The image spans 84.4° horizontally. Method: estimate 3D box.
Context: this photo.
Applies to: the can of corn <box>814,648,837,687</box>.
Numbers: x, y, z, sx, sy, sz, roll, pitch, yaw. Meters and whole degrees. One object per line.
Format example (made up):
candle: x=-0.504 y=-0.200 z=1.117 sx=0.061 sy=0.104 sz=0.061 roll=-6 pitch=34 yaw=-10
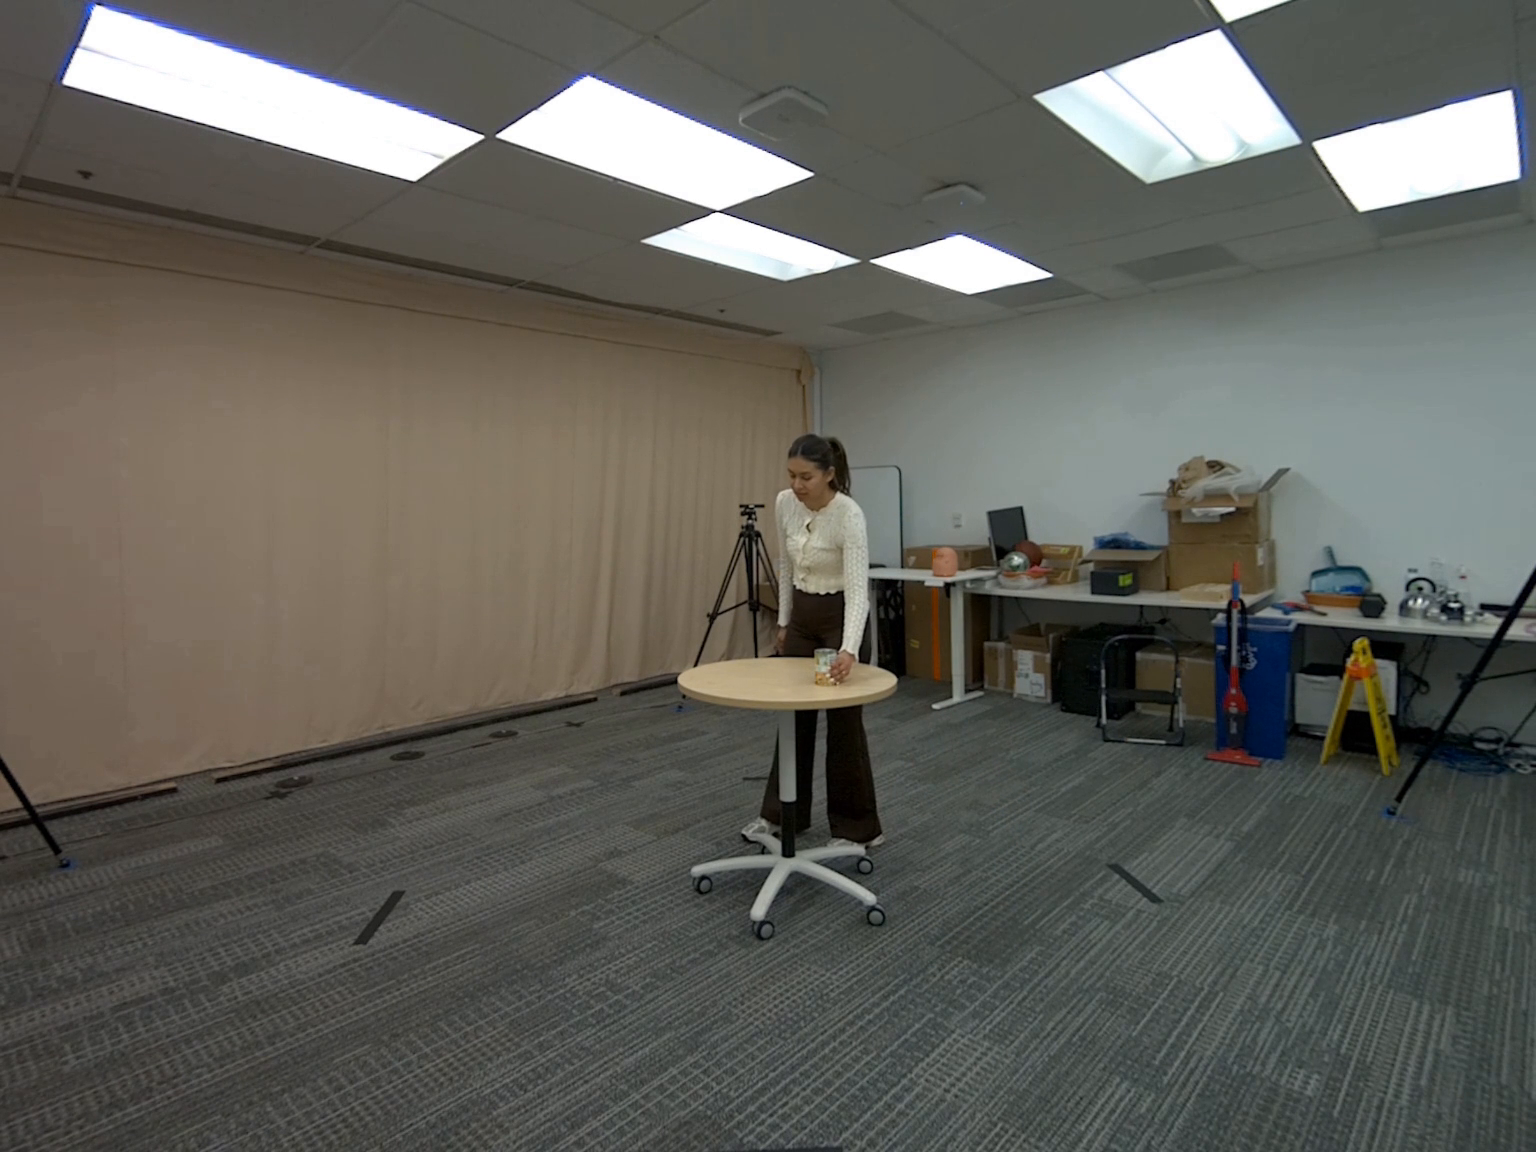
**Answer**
can of corn: x=0.197 y=0.306 z=2.840 sx=0.074 sy=0.111 sz=0.074 roll=-1 pitch=3 yaw=-2
